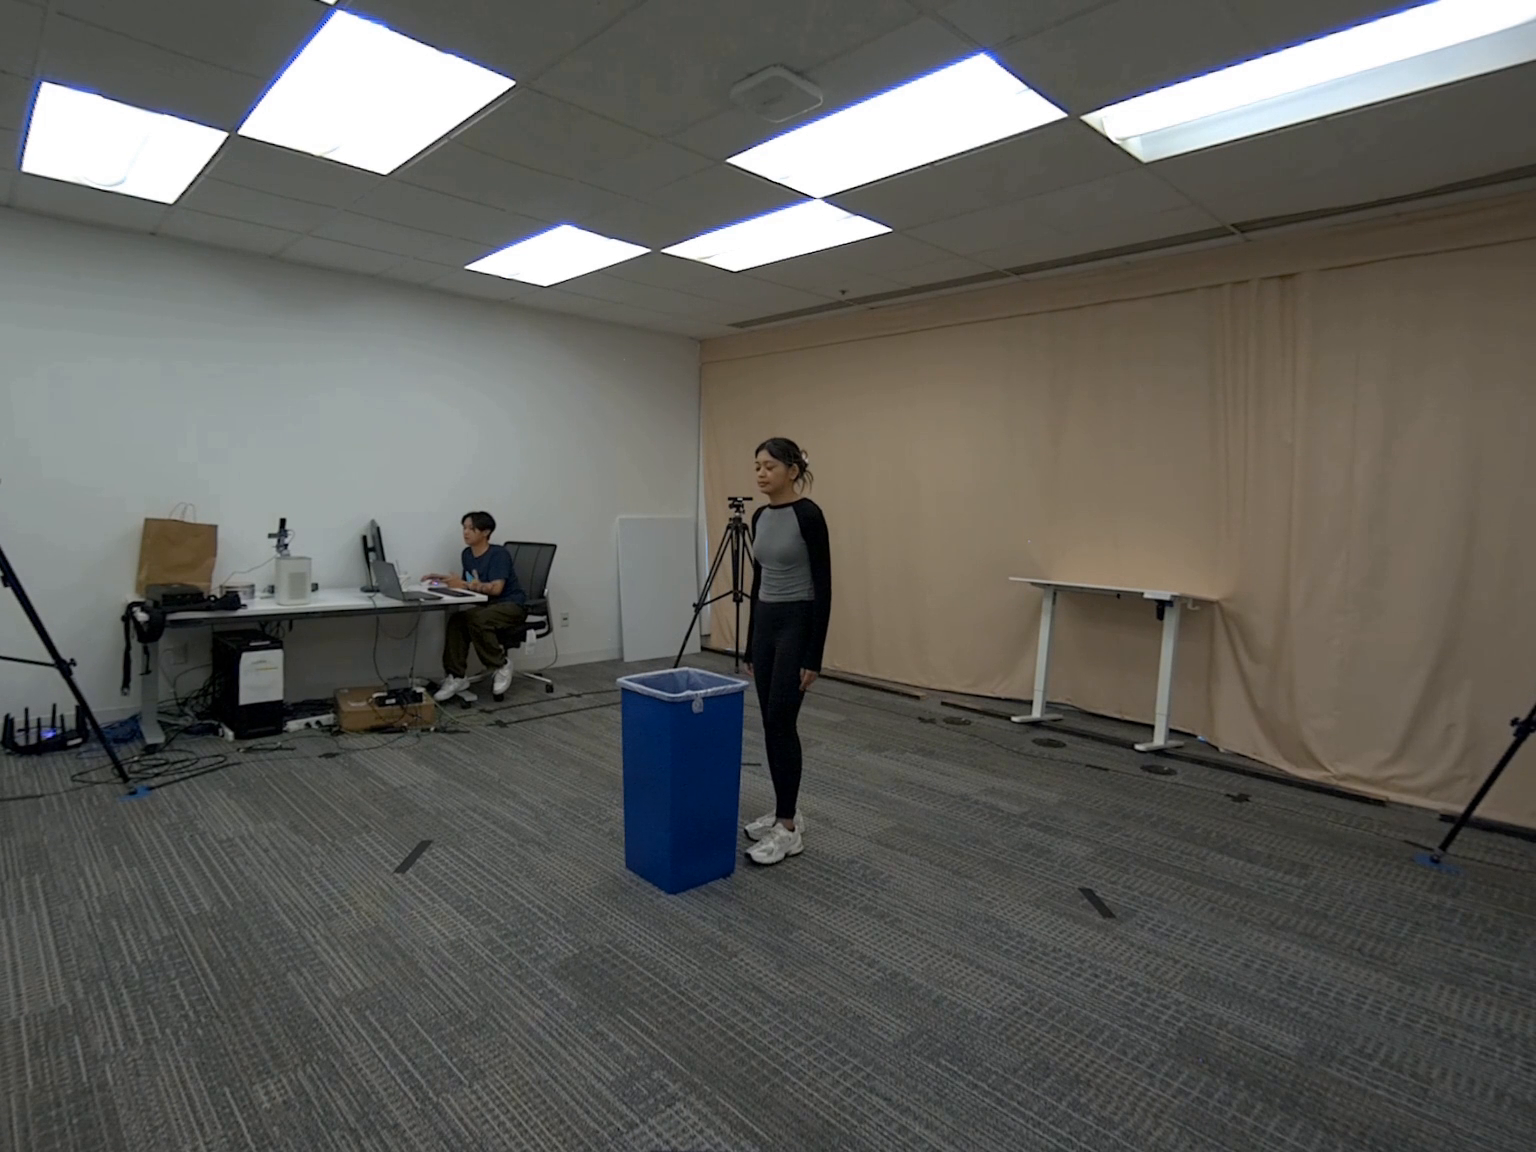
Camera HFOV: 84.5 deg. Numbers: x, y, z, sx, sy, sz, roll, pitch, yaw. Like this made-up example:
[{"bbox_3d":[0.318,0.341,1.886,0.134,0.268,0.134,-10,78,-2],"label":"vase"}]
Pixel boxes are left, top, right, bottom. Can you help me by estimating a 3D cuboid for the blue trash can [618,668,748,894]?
[{"bbox_3d":[-0.336,0.743,3.134,0.369,0.712,0.384,-1,4,-42],"label":"blue trash can"}]
